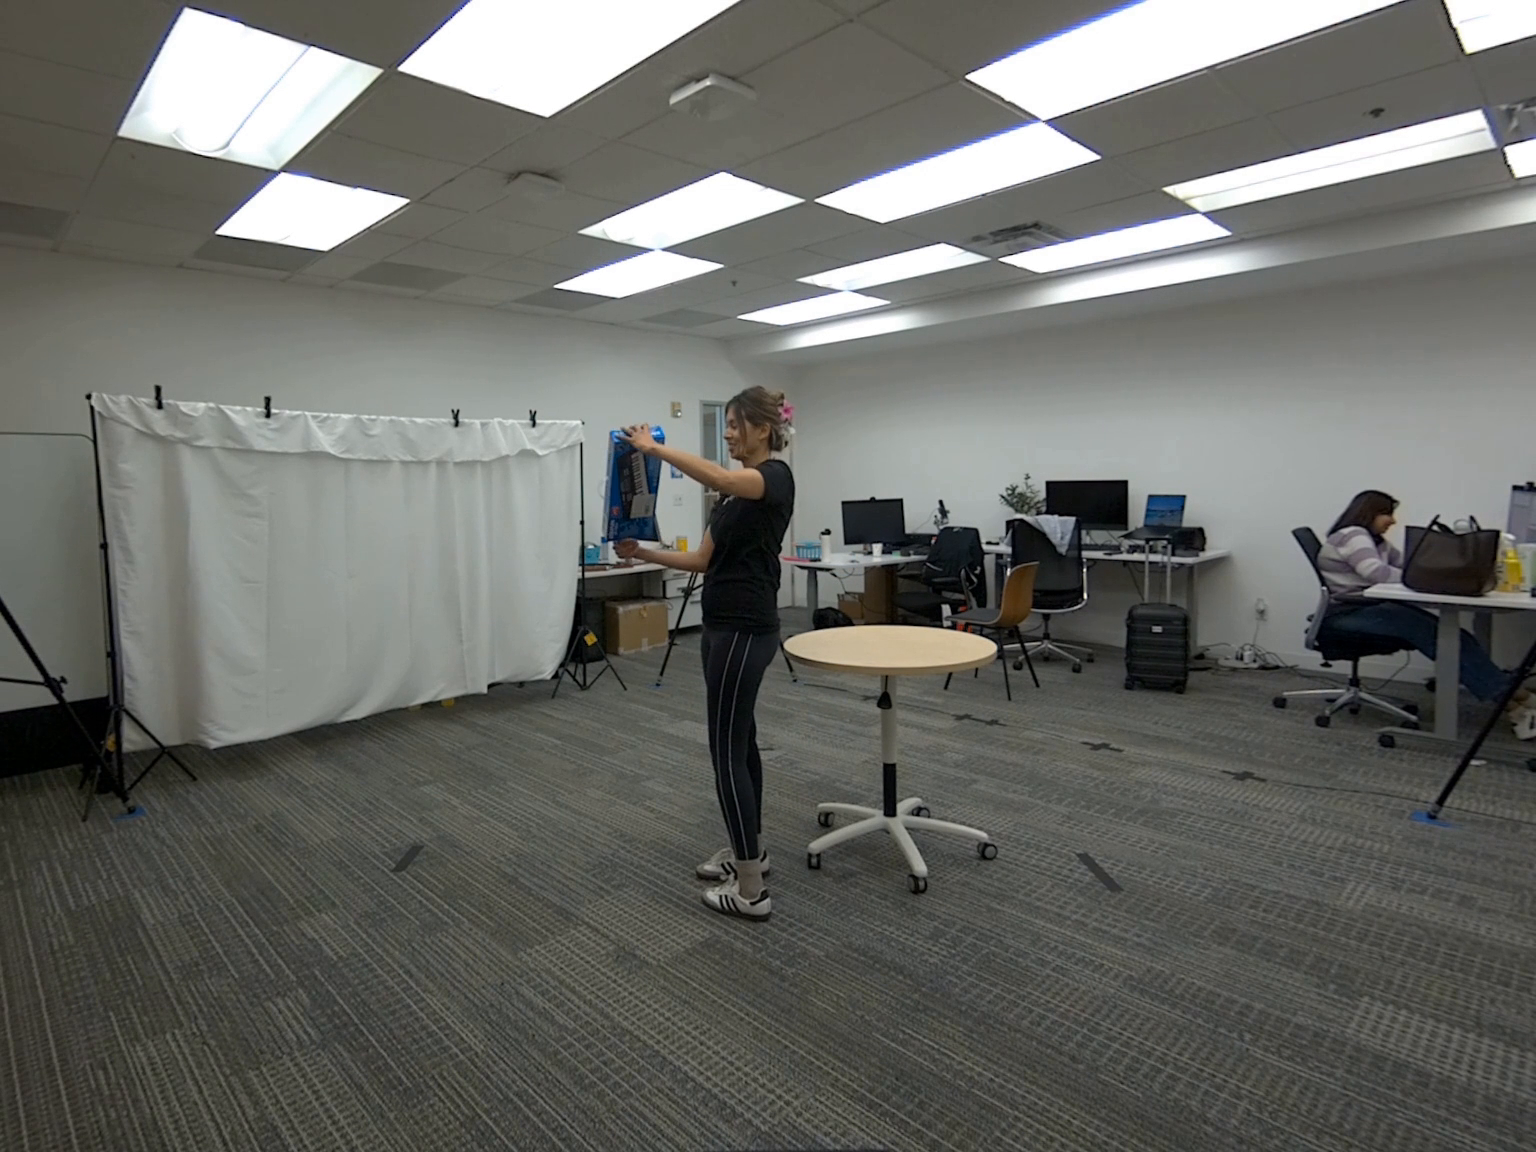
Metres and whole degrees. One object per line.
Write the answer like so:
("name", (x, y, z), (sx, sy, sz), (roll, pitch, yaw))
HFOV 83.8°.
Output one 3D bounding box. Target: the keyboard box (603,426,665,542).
("keyboard box", (-0.452, -0.305, 2.882), (0.173, 0.428, 0.061), (-7, 46, -22))
